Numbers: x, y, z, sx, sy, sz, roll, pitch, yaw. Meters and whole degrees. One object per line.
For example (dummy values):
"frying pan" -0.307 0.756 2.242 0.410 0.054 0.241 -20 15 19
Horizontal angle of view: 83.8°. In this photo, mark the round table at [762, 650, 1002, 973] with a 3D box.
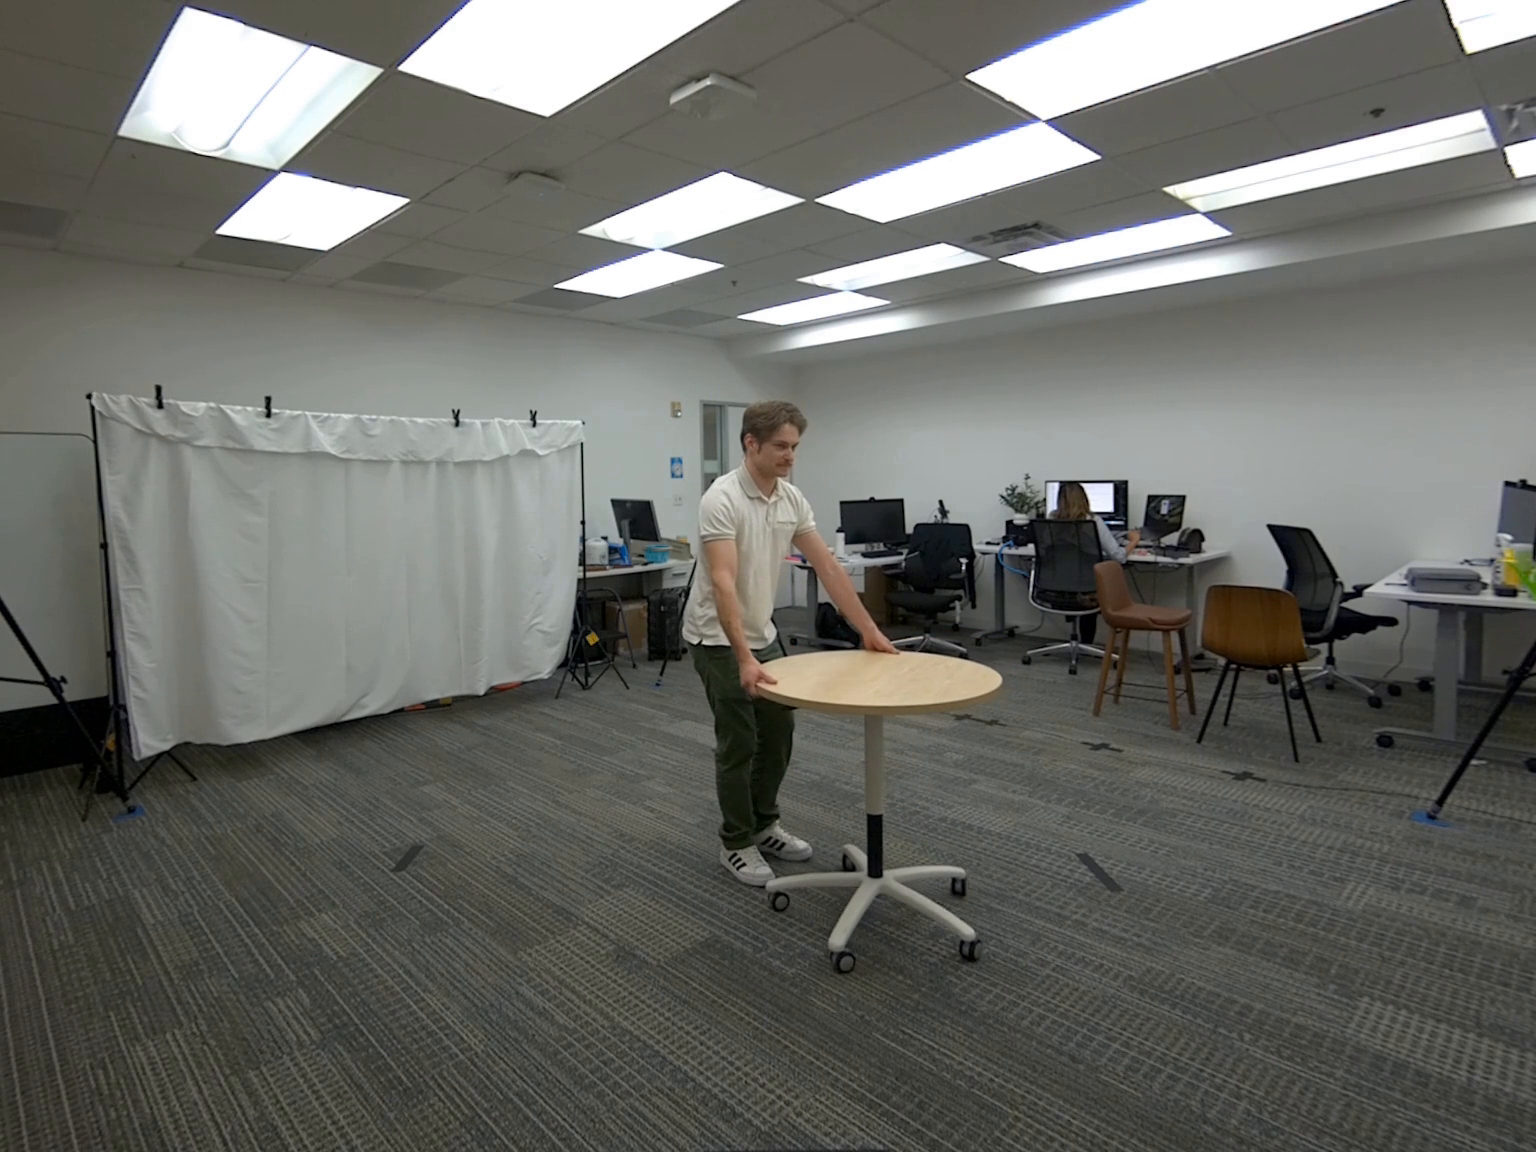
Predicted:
"round table" 0.339 0.699 2.685 0.763 0.791 0.768 -1 5 -2
